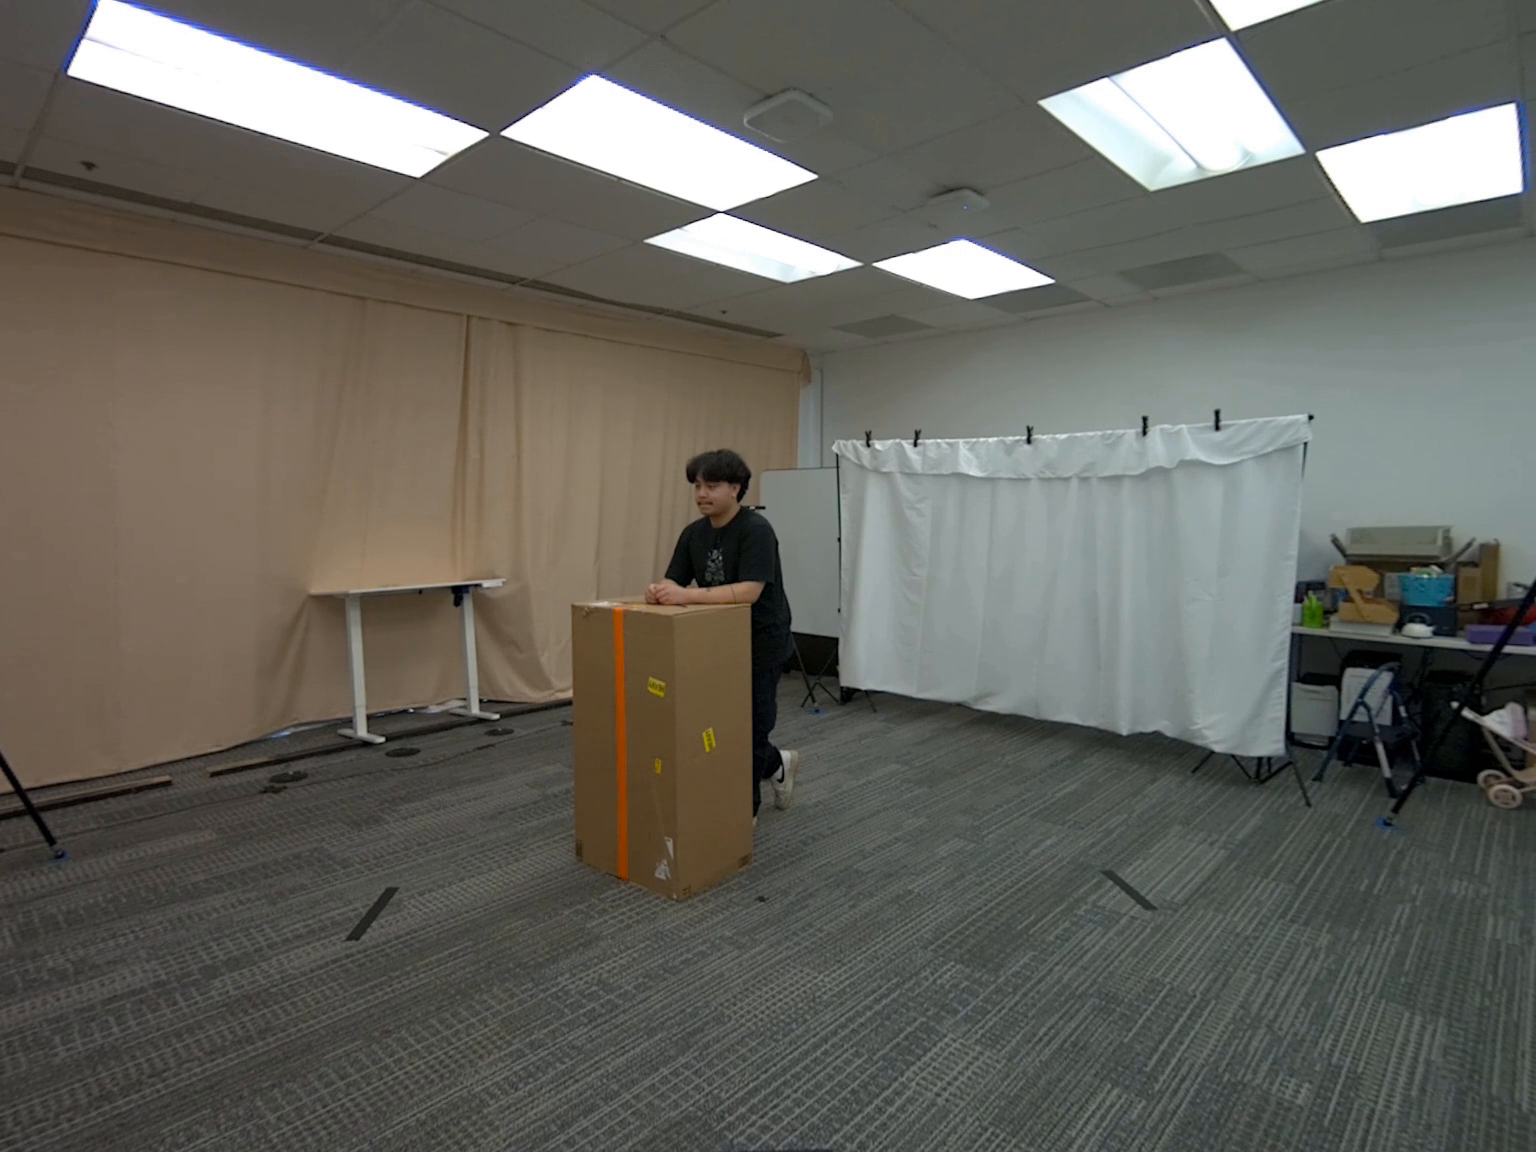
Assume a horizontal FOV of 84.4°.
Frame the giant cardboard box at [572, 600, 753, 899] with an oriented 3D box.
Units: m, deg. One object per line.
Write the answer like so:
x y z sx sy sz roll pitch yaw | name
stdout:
-0.419 0.613 3.282 0.603 1.025 0.433 2 4 41 | giant cardboard box
